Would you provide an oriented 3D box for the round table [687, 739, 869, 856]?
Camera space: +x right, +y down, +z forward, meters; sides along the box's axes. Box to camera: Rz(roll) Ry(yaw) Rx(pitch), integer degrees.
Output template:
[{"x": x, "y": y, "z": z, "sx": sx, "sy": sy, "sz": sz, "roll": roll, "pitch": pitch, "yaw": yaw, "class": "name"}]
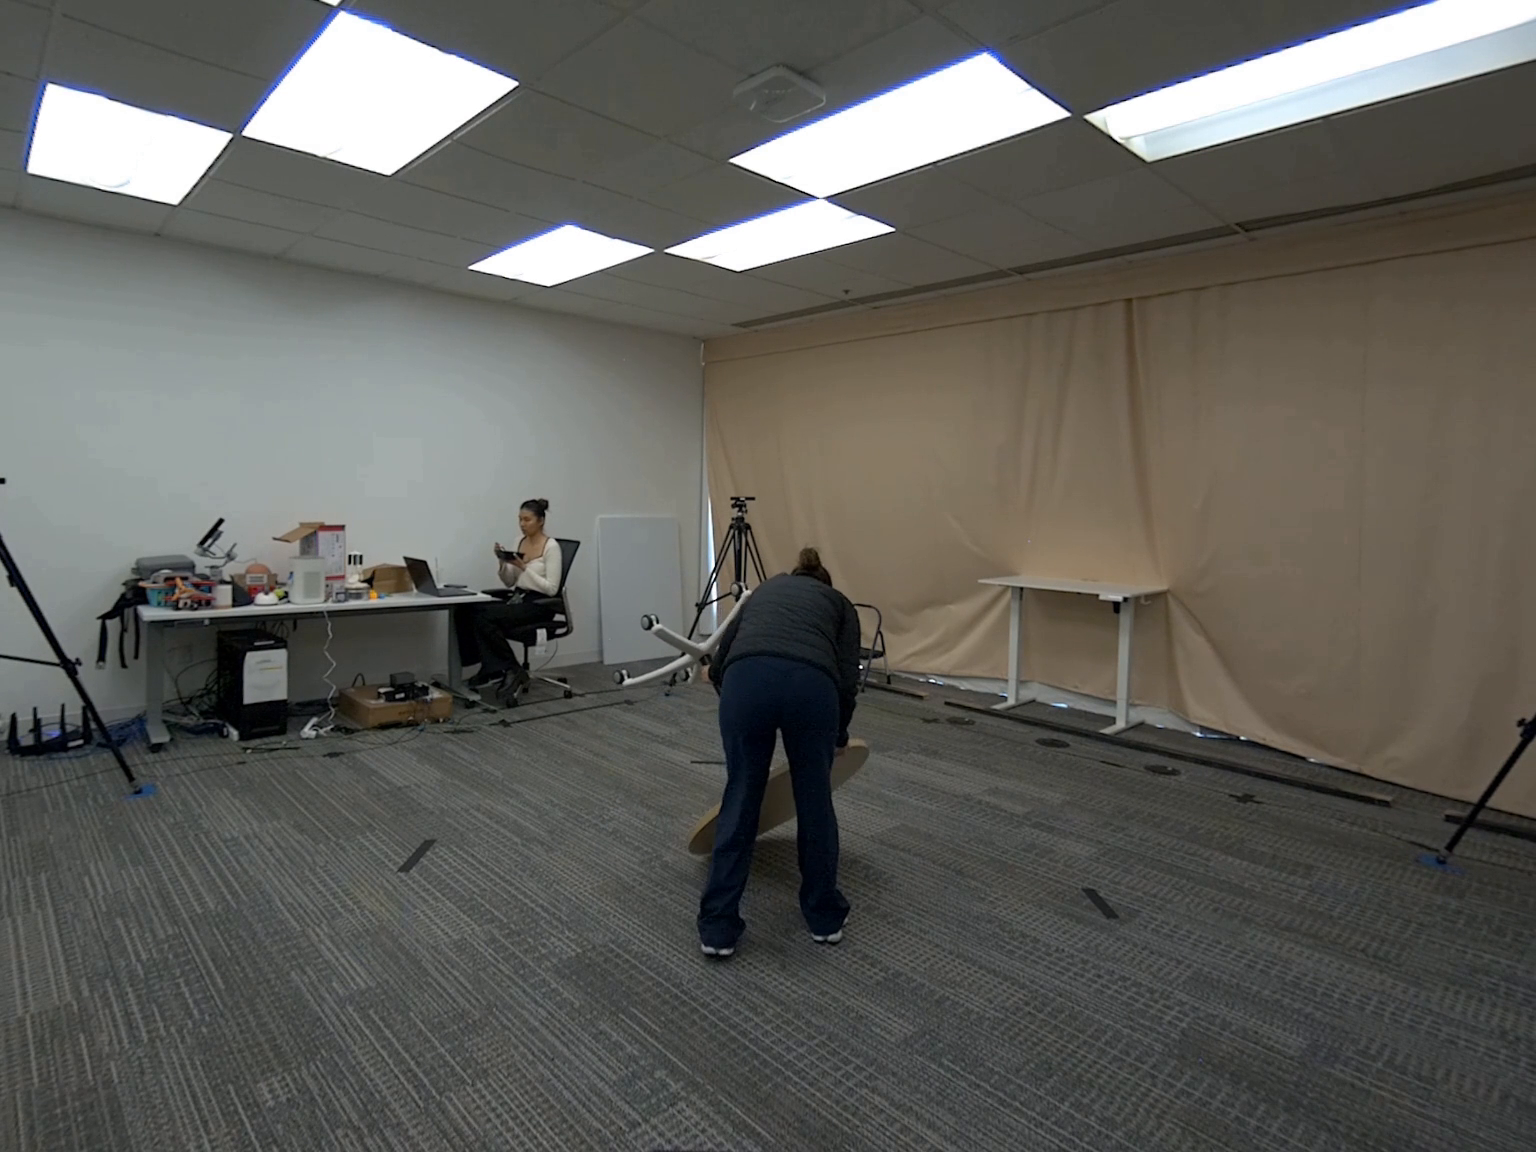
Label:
[{"x": -0.140, "y": 0.532, "z": 3.312, "sx": 0.780, "sy": 0.807, "sz": 0.770, "roll": -24, "pitch": -27, "yaw": -15, "class": "round table"}]
